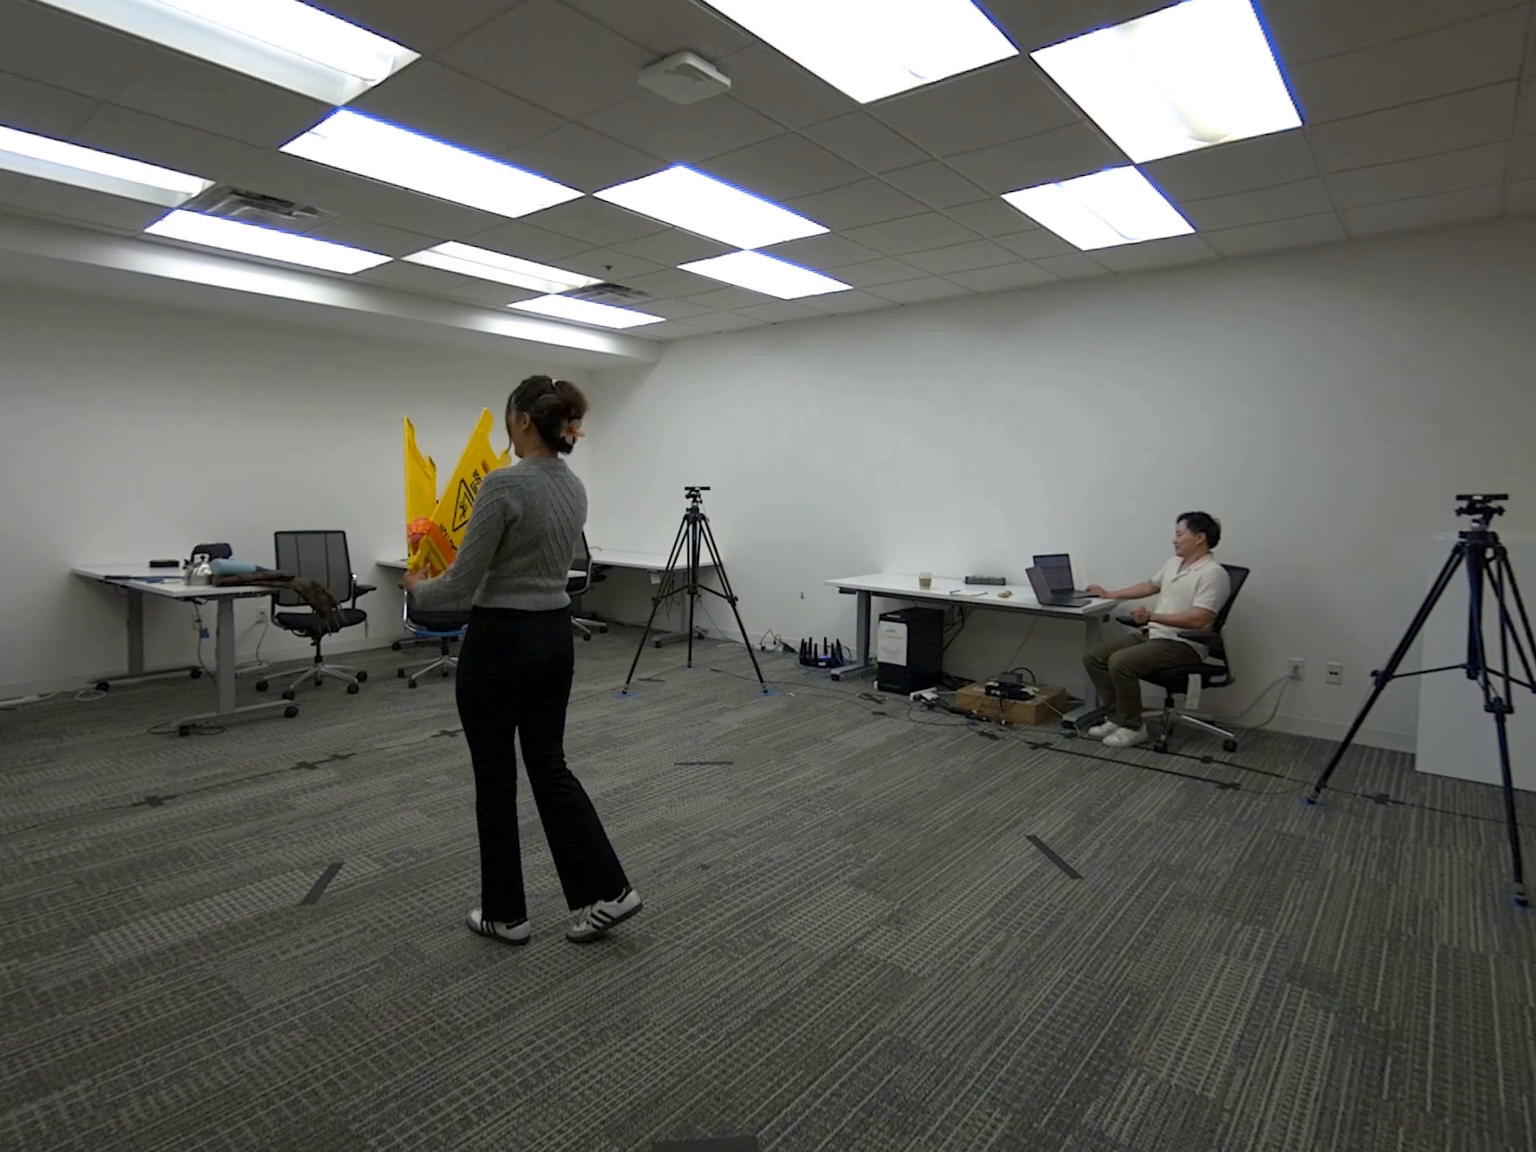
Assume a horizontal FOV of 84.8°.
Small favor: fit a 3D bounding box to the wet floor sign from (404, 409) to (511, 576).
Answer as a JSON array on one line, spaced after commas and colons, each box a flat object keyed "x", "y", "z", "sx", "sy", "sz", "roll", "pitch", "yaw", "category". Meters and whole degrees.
[{"x": -1.110, "y": -0.232, "z": 2.874, "sx": 0.291, "sy": 0.665, "sz": 0.273, "roll": -7, "pitch": -36, "yaw": 3, "category": "wet floor sign"}]
